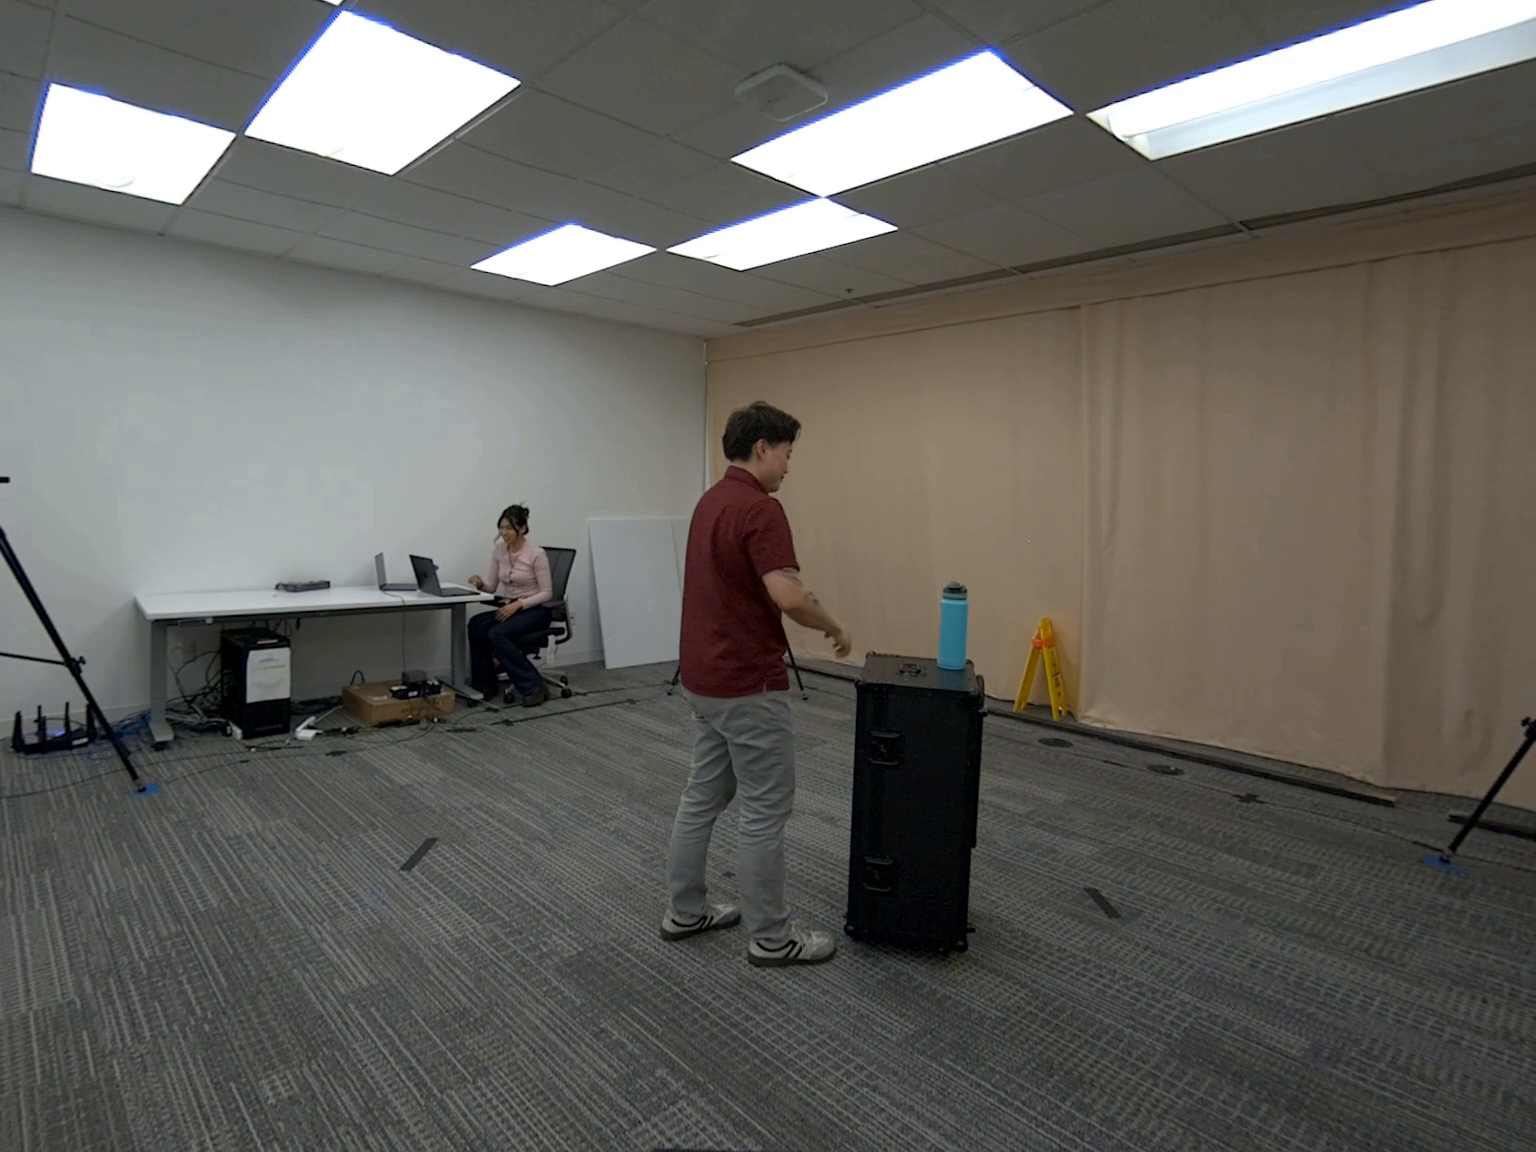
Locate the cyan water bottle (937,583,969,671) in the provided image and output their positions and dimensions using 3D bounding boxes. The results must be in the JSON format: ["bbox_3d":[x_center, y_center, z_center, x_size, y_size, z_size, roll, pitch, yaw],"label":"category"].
[{"bbox_3d":[0.603,0.164,2.778,0.092,0.282,0.093,4,4,-2],"label":"cyan water bottle"}]
